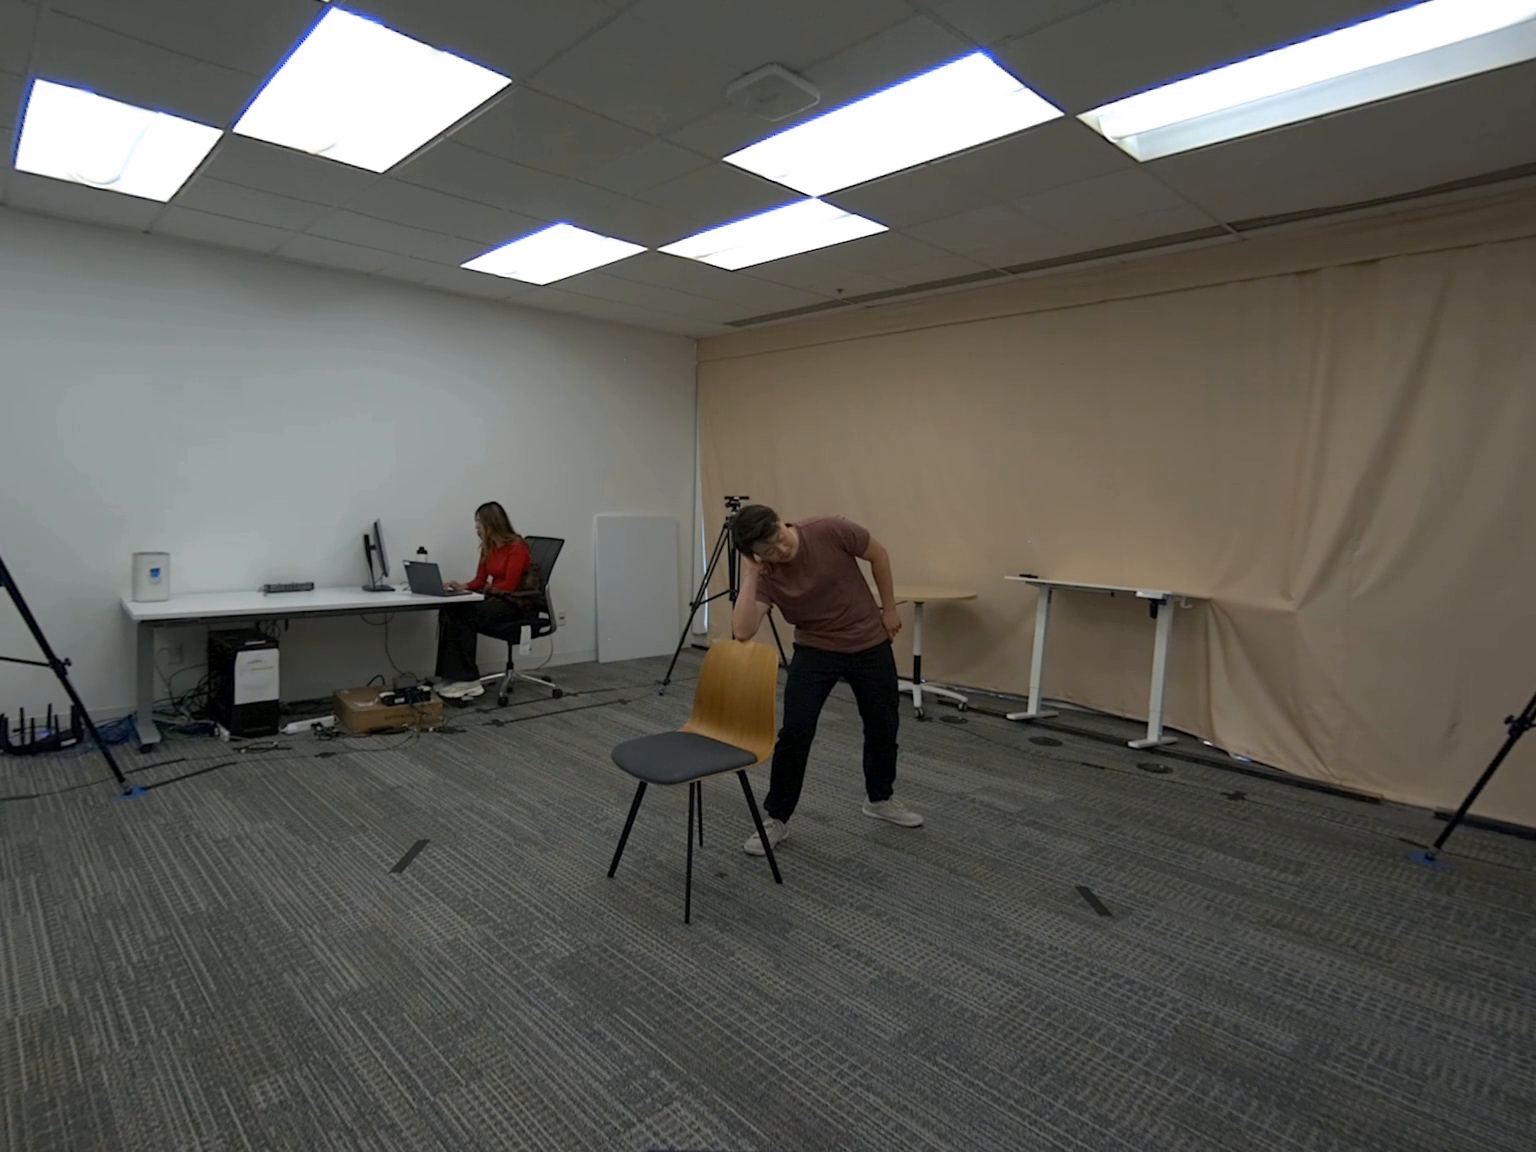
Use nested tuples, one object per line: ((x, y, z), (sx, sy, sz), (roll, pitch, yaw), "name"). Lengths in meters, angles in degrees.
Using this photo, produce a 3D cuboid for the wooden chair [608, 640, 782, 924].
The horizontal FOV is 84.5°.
((-0.266, 0.682, 3.016), (0.510, 0.877, 0.490), (4, 0, -44), "wooden chair")
